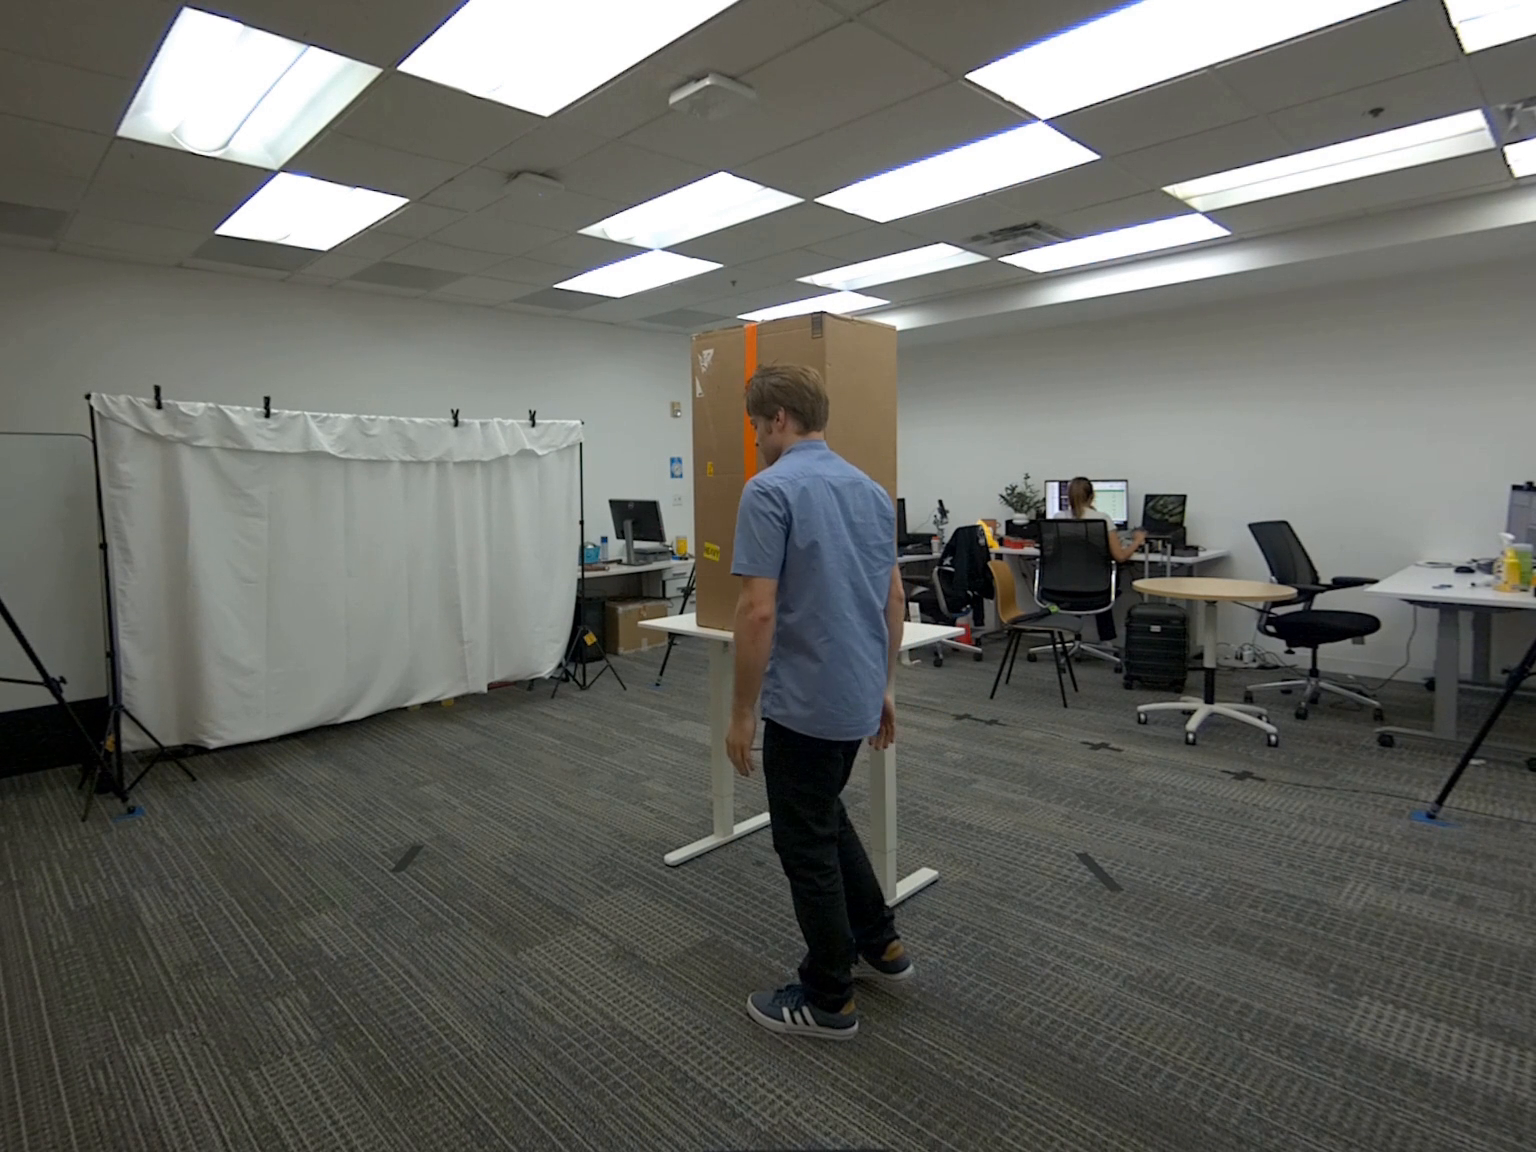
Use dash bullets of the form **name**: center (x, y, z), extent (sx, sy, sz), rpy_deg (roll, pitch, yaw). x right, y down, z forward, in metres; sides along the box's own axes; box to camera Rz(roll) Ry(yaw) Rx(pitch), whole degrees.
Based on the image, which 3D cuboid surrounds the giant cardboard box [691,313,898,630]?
- **giant cardboard box**: center (0.087, -0.329, 2.953), extent (0.595, 1.022, 0.415), rpy_deg (3, 5, 42)
